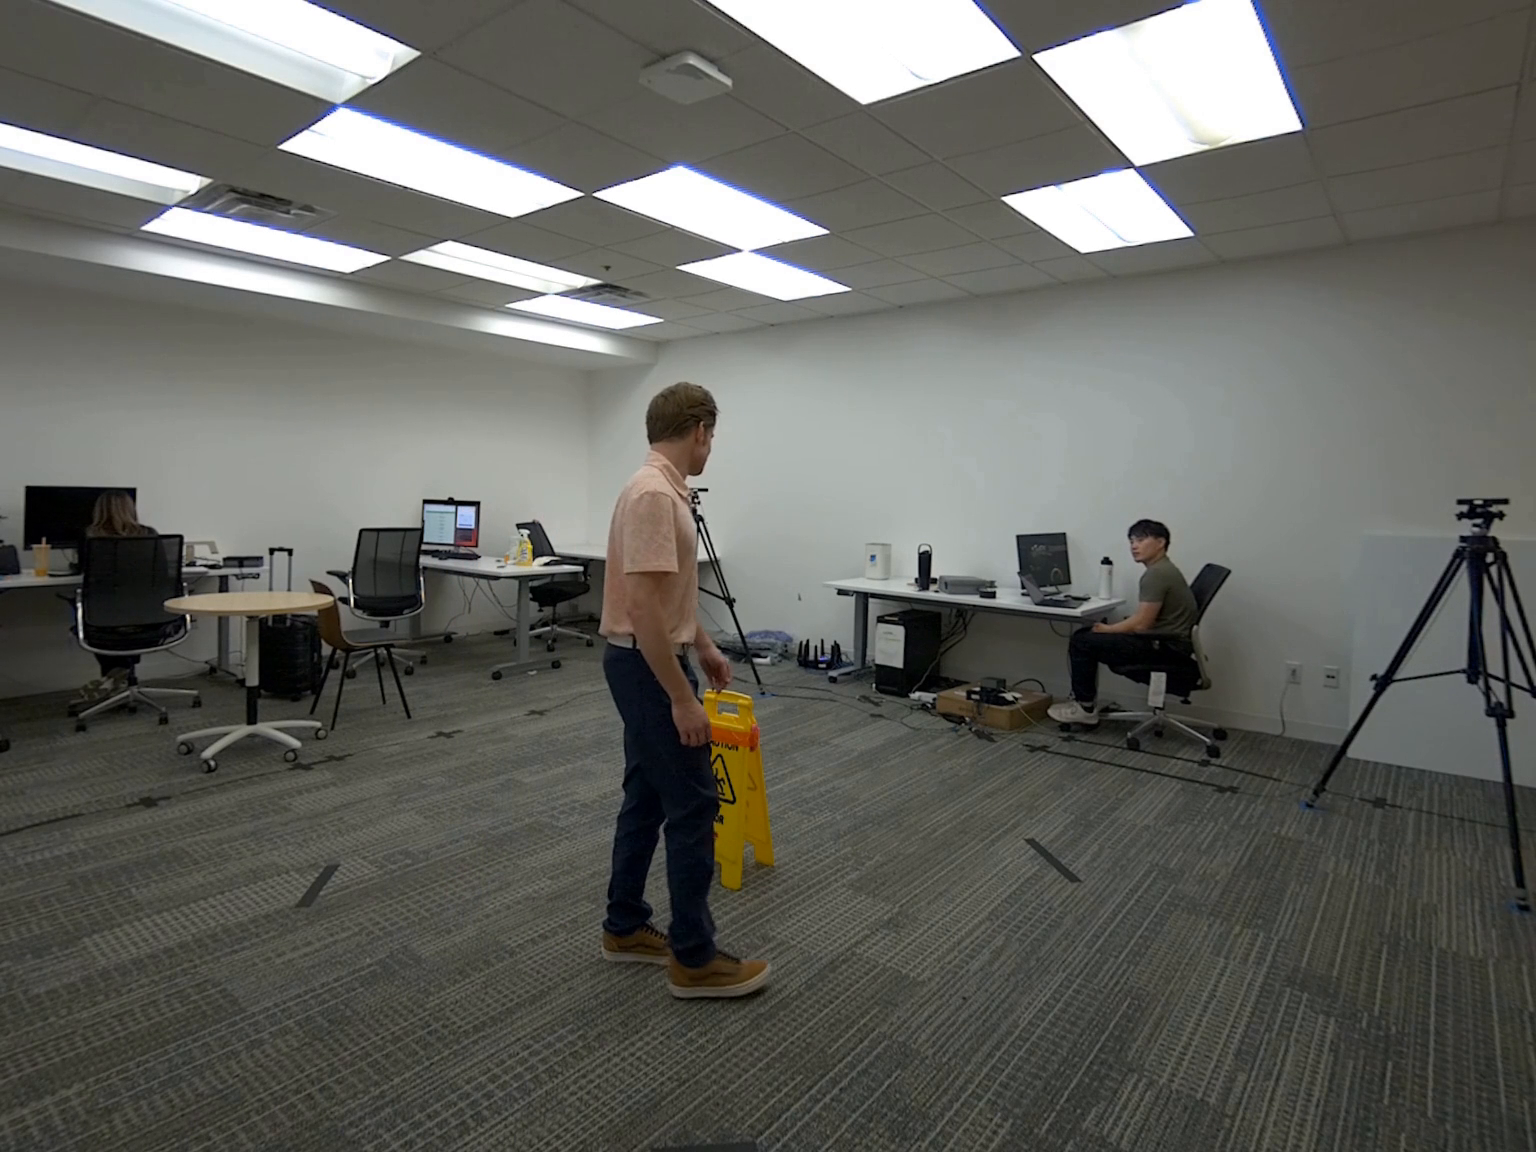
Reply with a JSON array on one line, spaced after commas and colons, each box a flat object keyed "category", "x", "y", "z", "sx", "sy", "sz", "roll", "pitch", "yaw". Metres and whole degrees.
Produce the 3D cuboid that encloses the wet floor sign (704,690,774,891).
[{"category": "wet floor sign", "x": -0.163, "y": 0.745, "z": 3.103, "sx": 0.291, "sy": 0.644, "sz": 0.282, "roll": 2, "pitch": 3, "yaw": 31}]
